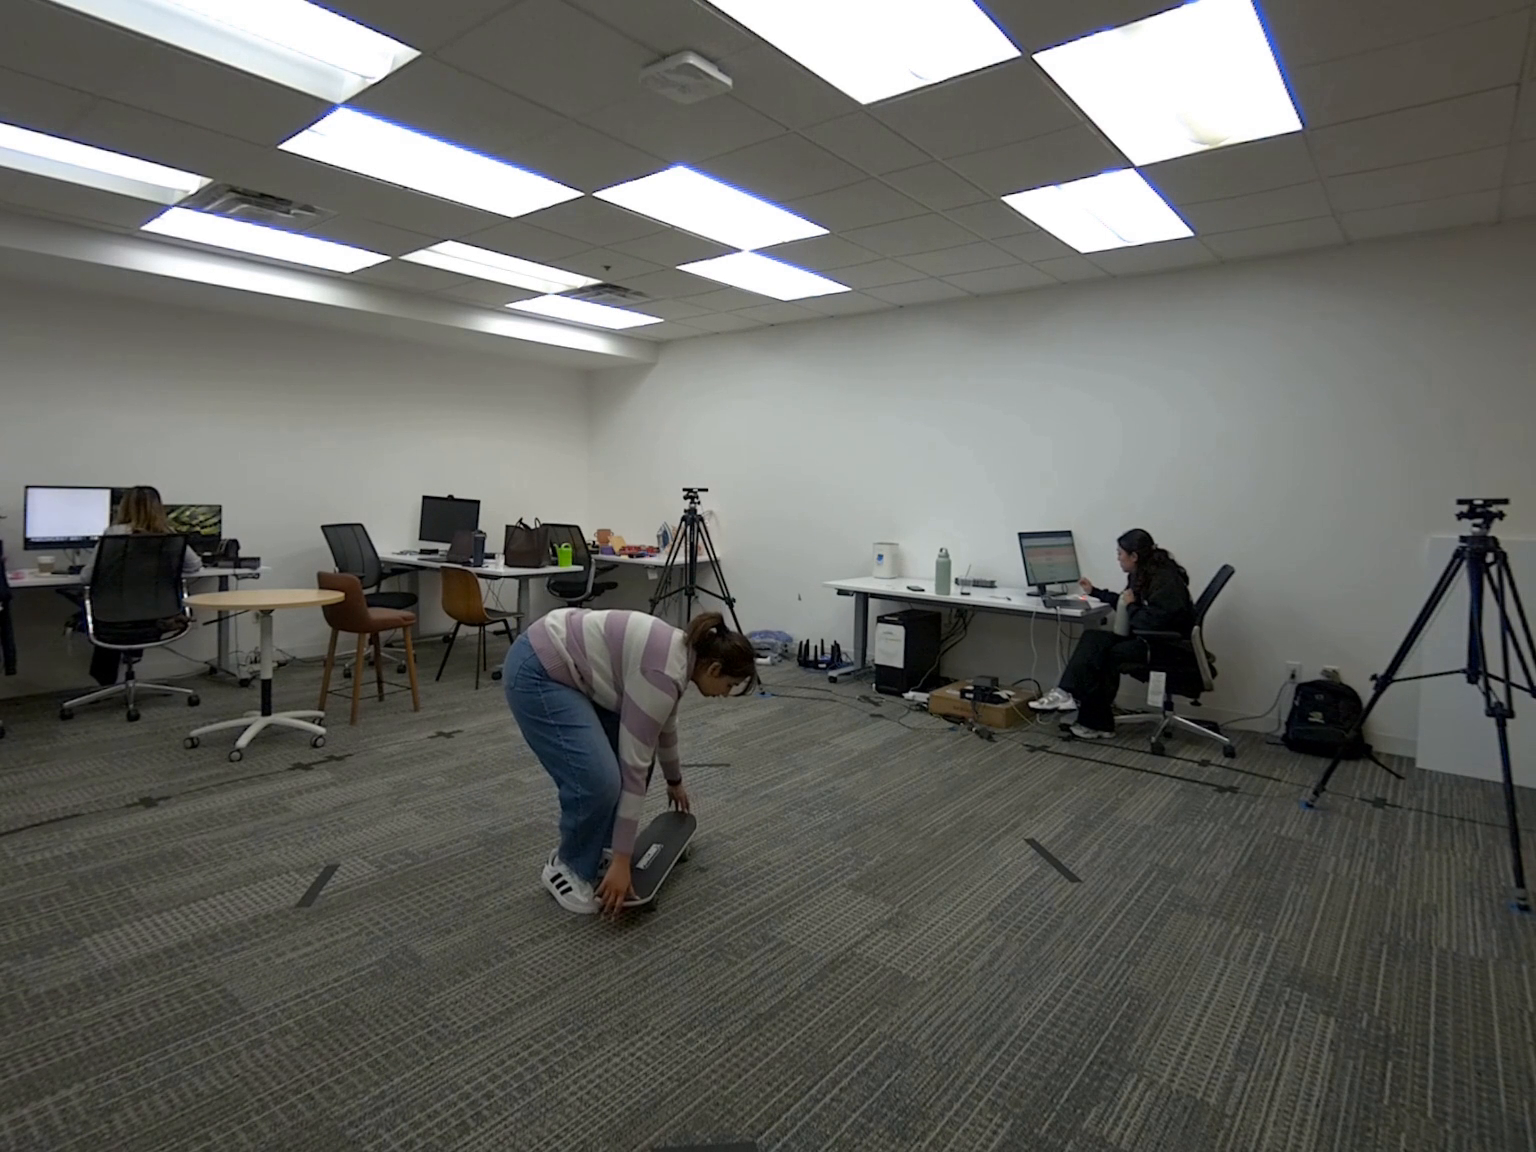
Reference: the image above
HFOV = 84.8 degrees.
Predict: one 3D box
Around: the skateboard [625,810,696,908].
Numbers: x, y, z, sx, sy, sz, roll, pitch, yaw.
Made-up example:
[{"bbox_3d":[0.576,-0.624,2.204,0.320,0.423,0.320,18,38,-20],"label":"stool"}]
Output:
[{"bbox_3d":[-0.424,1.020,3.013,0.196,0.110,0.779,2,6,10],"label":"skateboard"}]
